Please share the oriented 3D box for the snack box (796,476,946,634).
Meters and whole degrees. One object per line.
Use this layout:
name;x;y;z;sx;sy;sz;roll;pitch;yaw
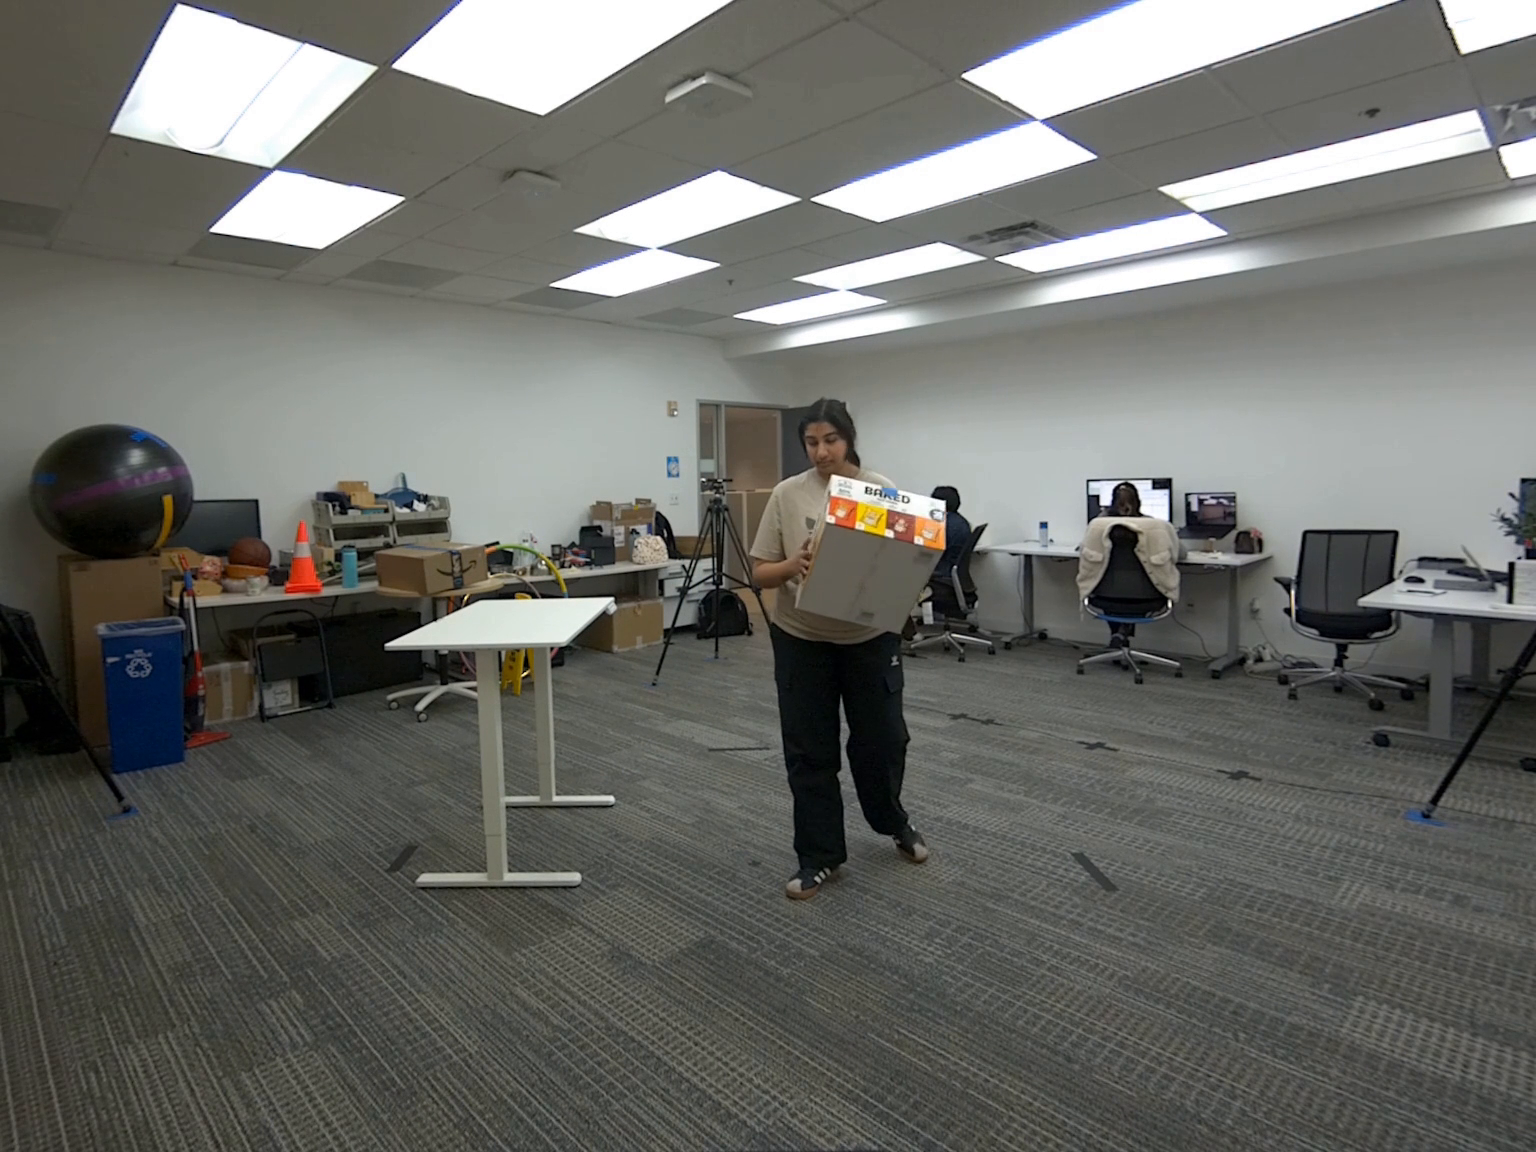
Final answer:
snack box;0.305;-0.055;2.568;0.340;0.210;0.397;14;-42;-1
